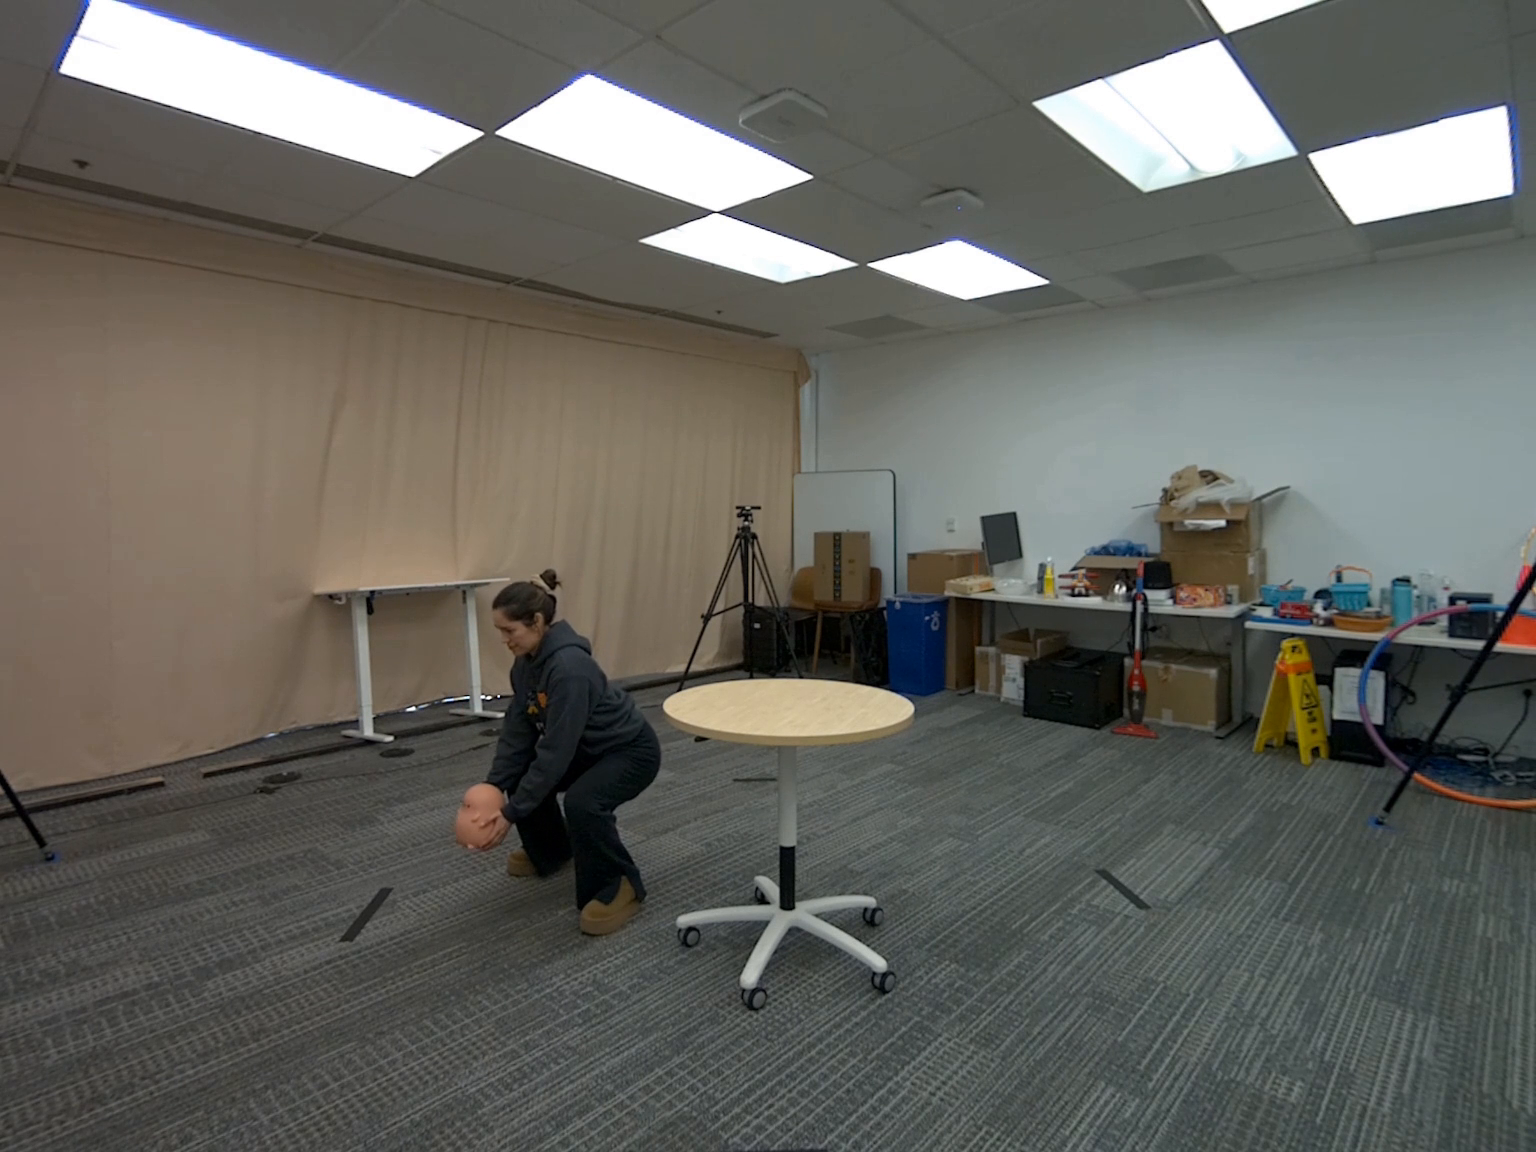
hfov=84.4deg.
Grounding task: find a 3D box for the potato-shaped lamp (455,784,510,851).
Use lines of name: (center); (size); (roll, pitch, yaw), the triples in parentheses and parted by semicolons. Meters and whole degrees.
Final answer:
potato-shaped lamp: (-0.947, 0.798, 2.830); (0.166, 0.198, 0.170); (-2, 1, -42)
